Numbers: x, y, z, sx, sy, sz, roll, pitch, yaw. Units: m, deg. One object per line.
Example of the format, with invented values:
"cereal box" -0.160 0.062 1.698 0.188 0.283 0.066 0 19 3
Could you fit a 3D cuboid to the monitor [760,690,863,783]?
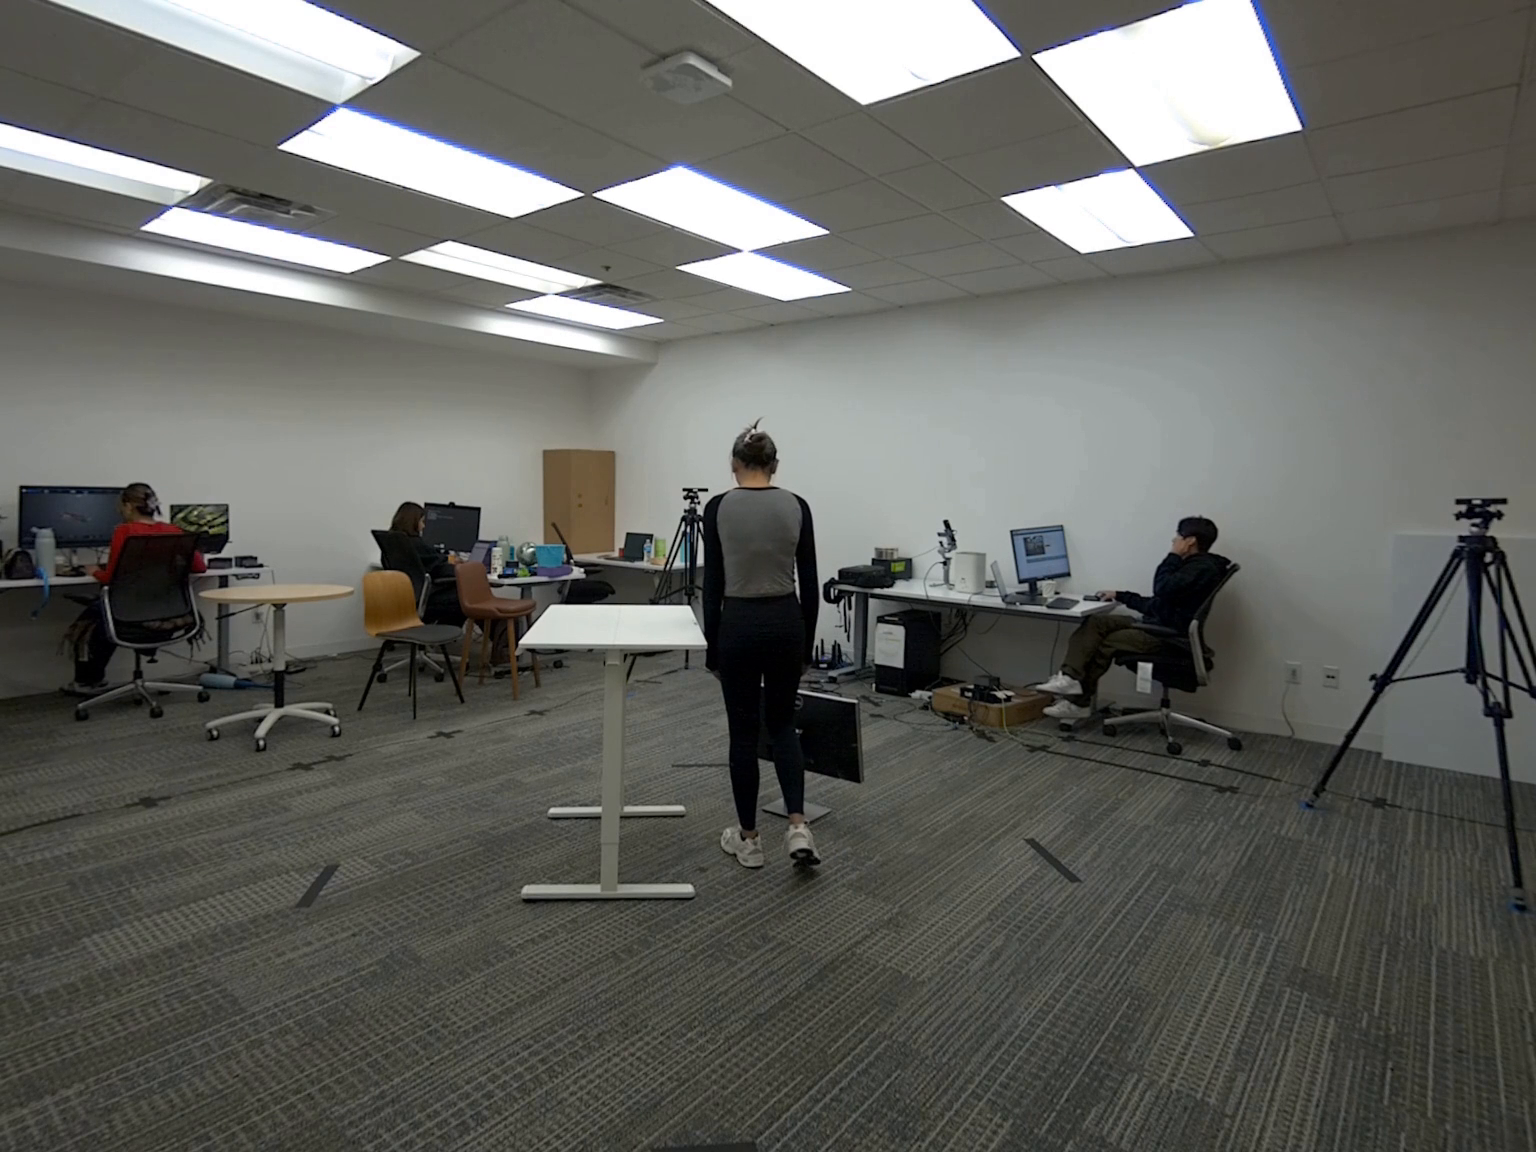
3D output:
"monitor" 0.125 0.758 3.690 0.556 0.522 0.181 4 2 34
